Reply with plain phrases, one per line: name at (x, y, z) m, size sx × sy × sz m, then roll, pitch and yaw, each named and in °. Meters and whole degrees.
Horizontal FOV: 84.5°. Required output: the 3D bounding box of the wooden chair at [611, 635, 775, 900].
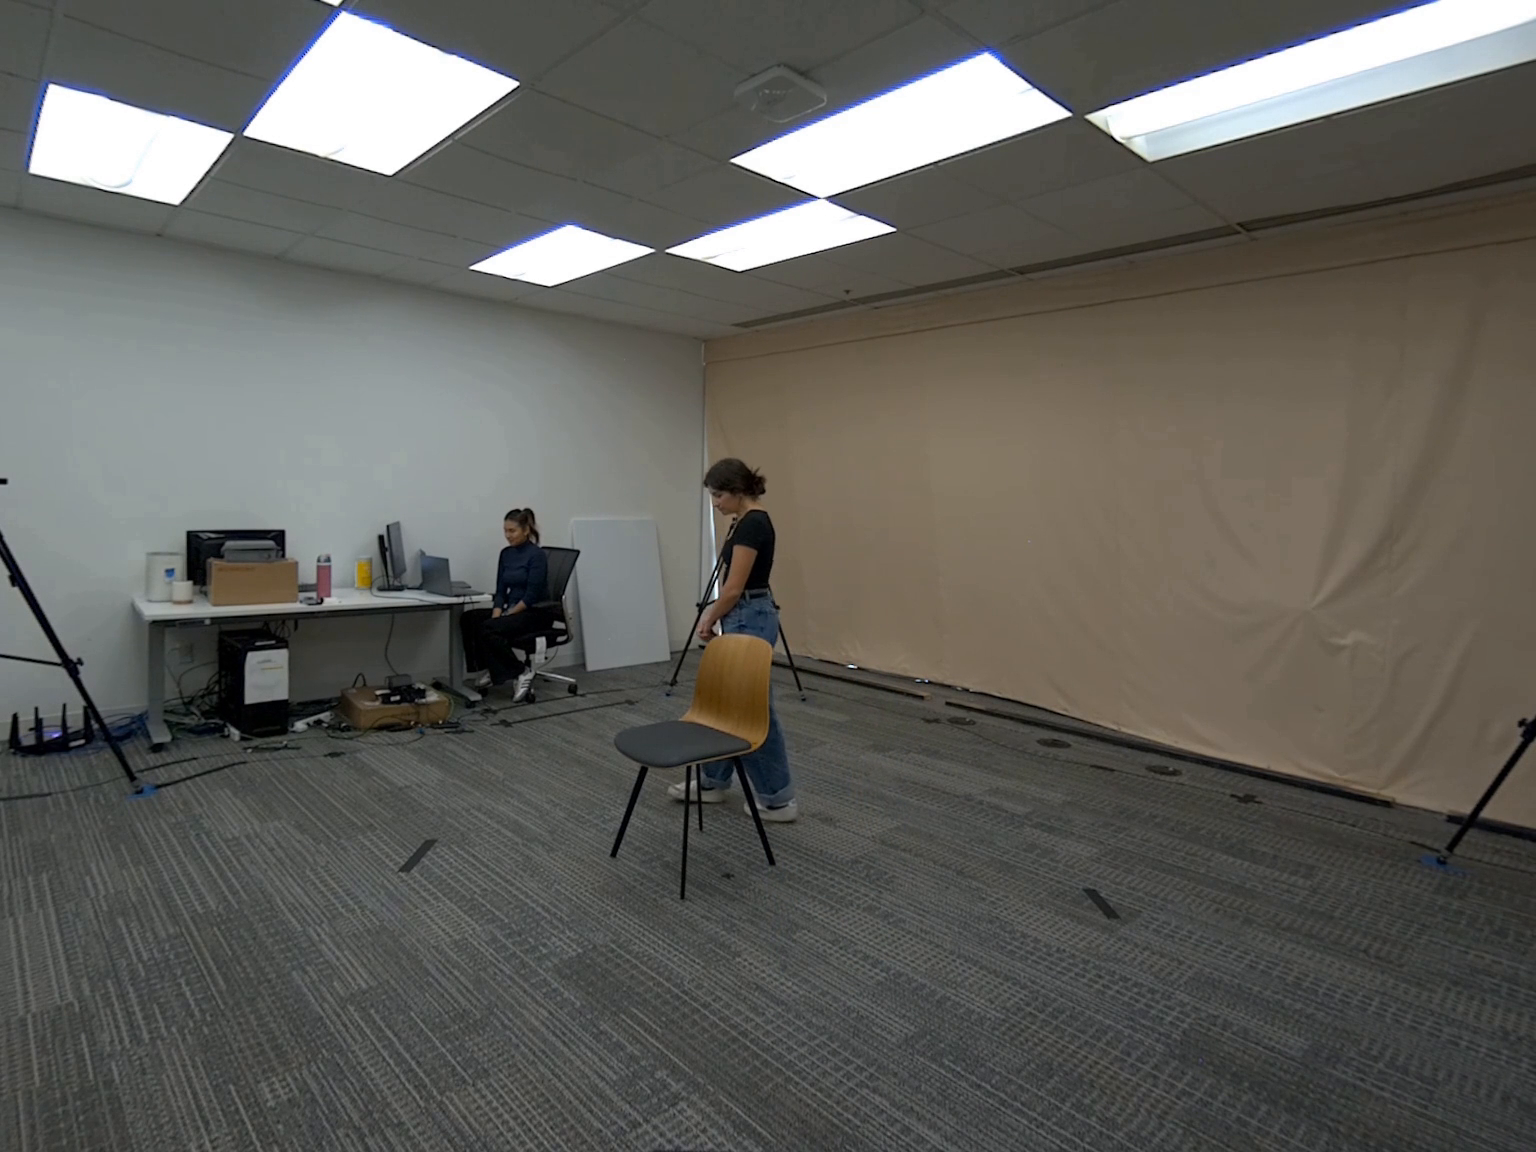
wooden chair at (-0.289, 0.670, 3.188) m, size 0.510 × 0.877 × 0.490 m, roll 4°, pitch 1°, yaw -43°
